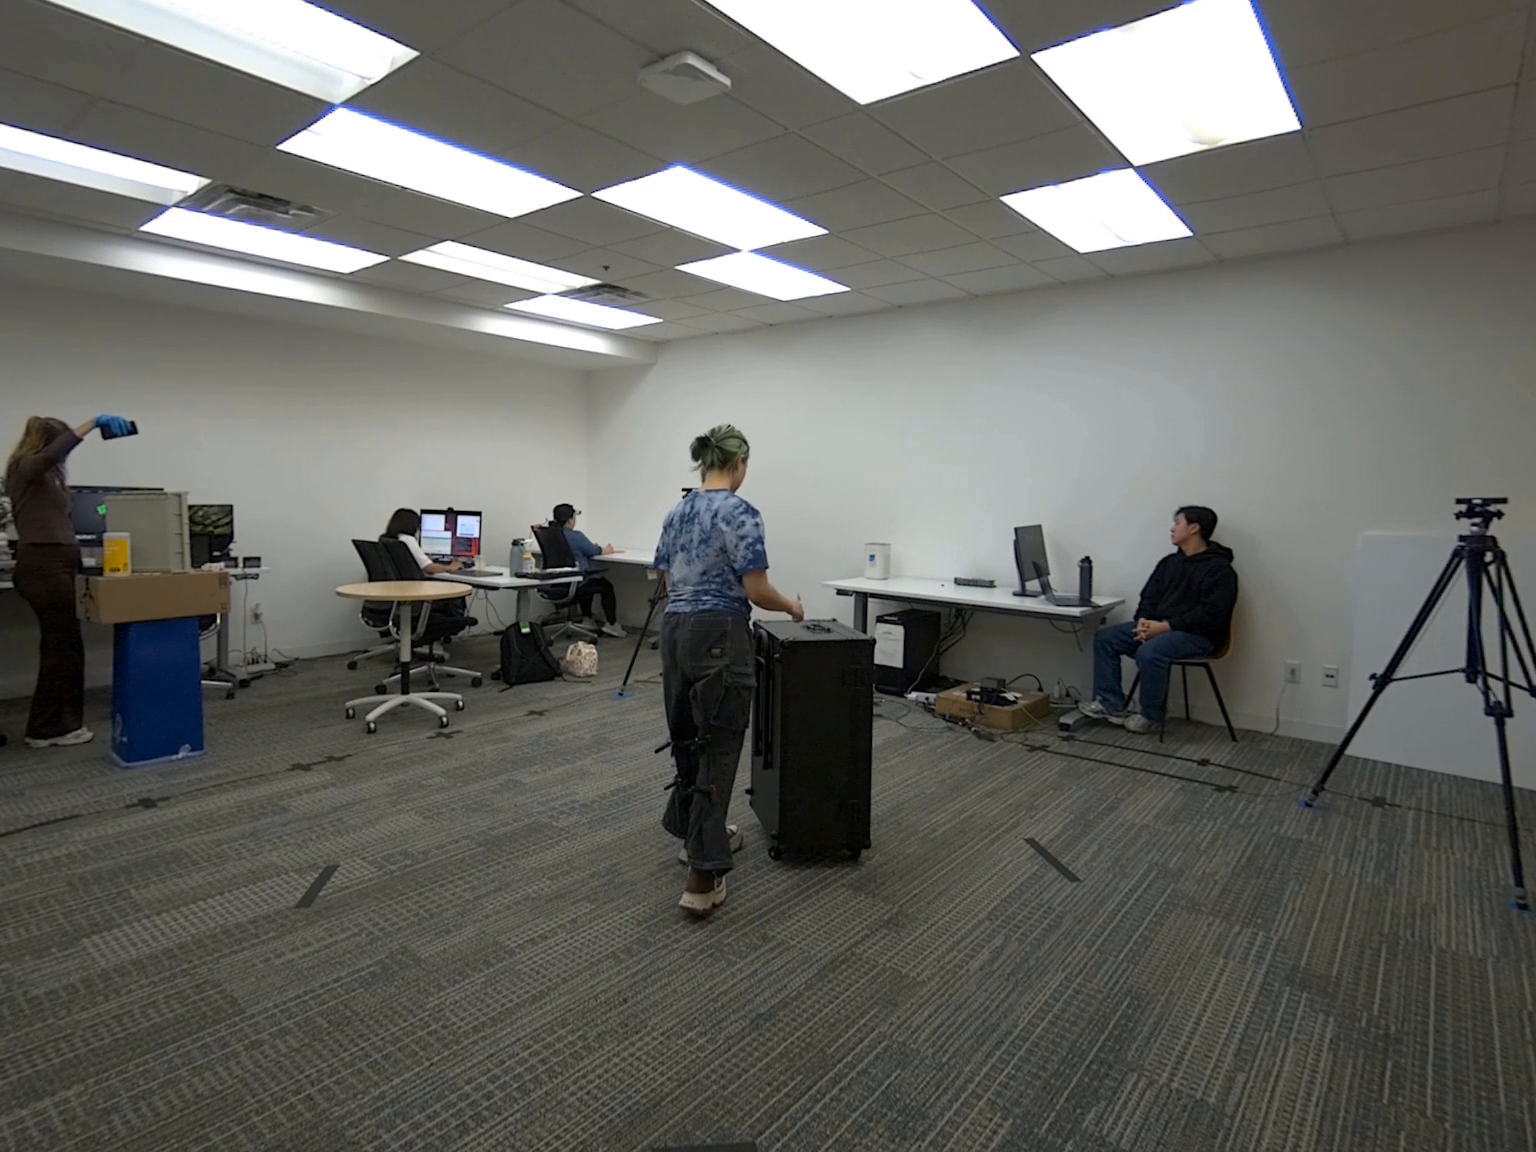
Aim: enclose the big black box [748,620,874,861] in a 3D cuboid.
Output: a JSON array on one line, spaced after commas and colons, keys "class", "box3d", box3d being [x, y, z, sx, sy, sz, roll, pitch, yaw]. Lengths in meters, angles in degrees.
[{"class": "big black box", "box3d": [0.146, 0.630, 3.337, 0.392, 0.858, 0.529, -1, 4, -11]}]
